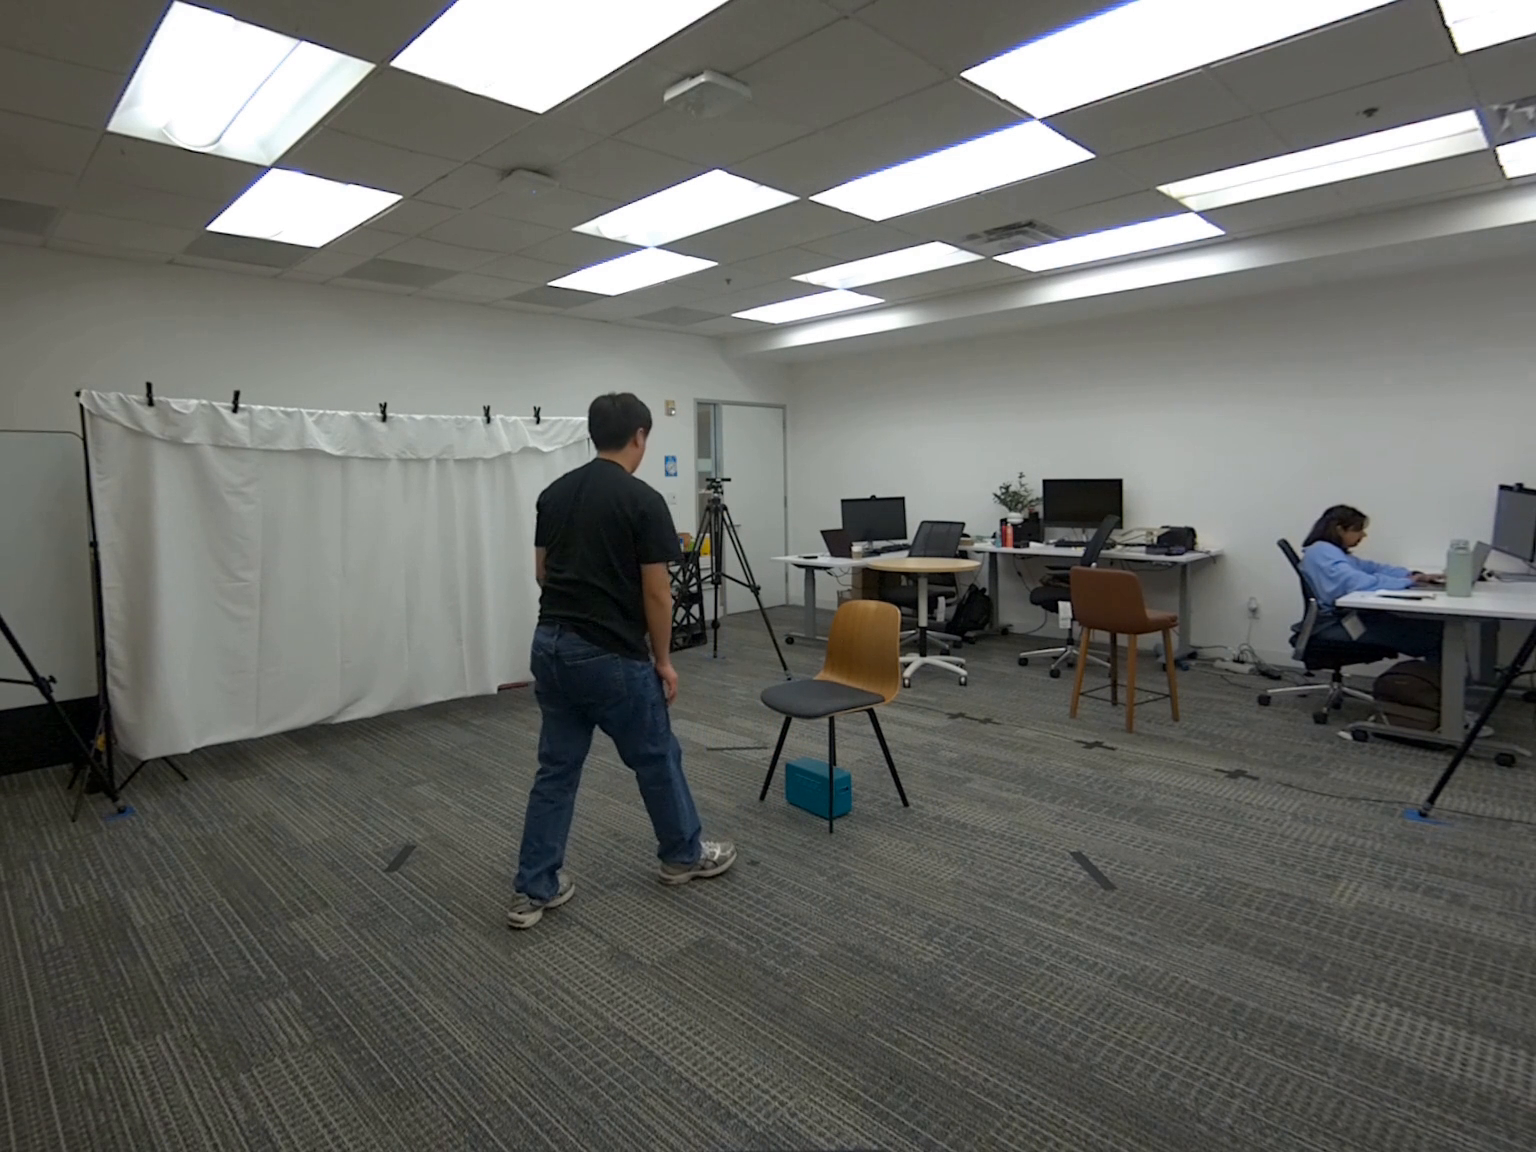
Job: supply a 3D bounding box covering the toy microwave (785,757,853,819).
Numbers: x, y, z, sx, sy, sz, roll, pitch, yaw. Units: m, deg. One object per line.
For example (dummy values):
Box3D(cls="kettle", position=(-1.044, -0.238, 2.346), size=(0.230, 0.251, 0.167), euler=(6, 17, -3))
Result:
Box3D(cls="toy microwave", position=(0.216, 0.891, 3.610), size=(0.148, 0.183, 0.295), euler=(-5, 7, -38))
